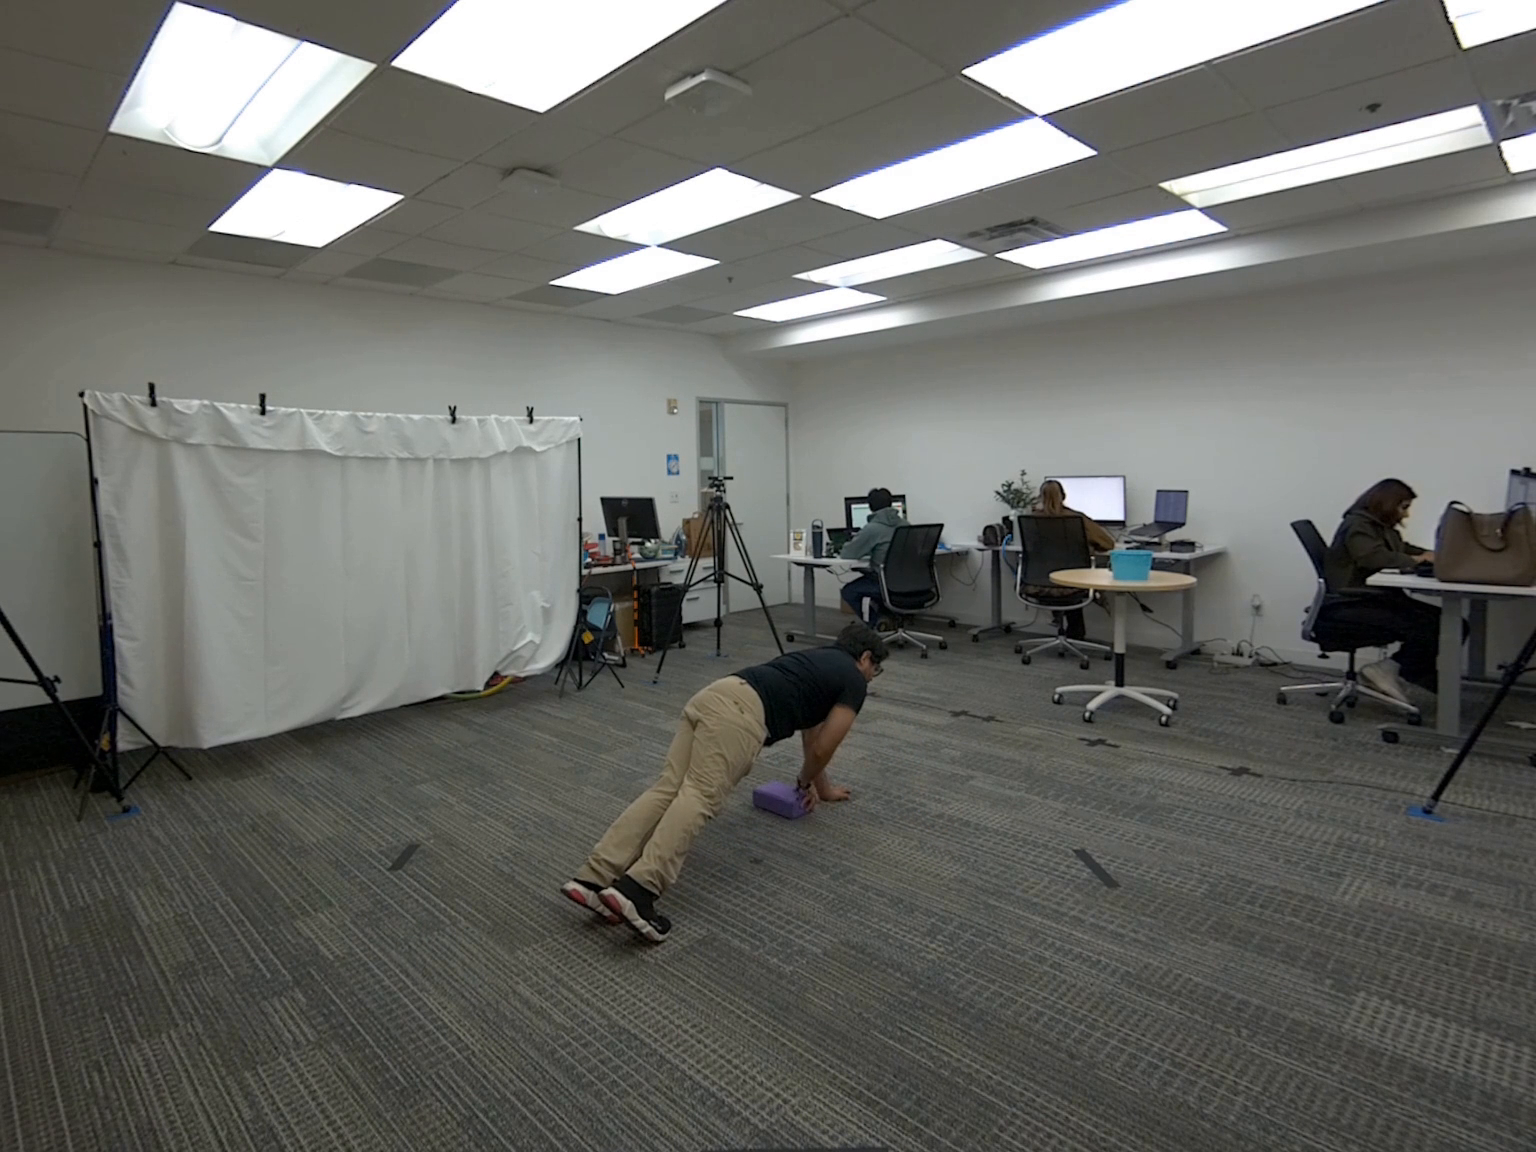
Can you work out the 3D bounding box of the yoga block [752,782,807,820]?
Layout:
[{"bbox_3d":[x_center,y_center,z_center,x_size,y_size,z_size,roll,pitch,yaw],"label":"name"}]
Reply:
[{"bbox_3d":[0.065,0.941,3.593,0.145,0.076,0.237,-4,8,-43],"label":"yoga block"}]
